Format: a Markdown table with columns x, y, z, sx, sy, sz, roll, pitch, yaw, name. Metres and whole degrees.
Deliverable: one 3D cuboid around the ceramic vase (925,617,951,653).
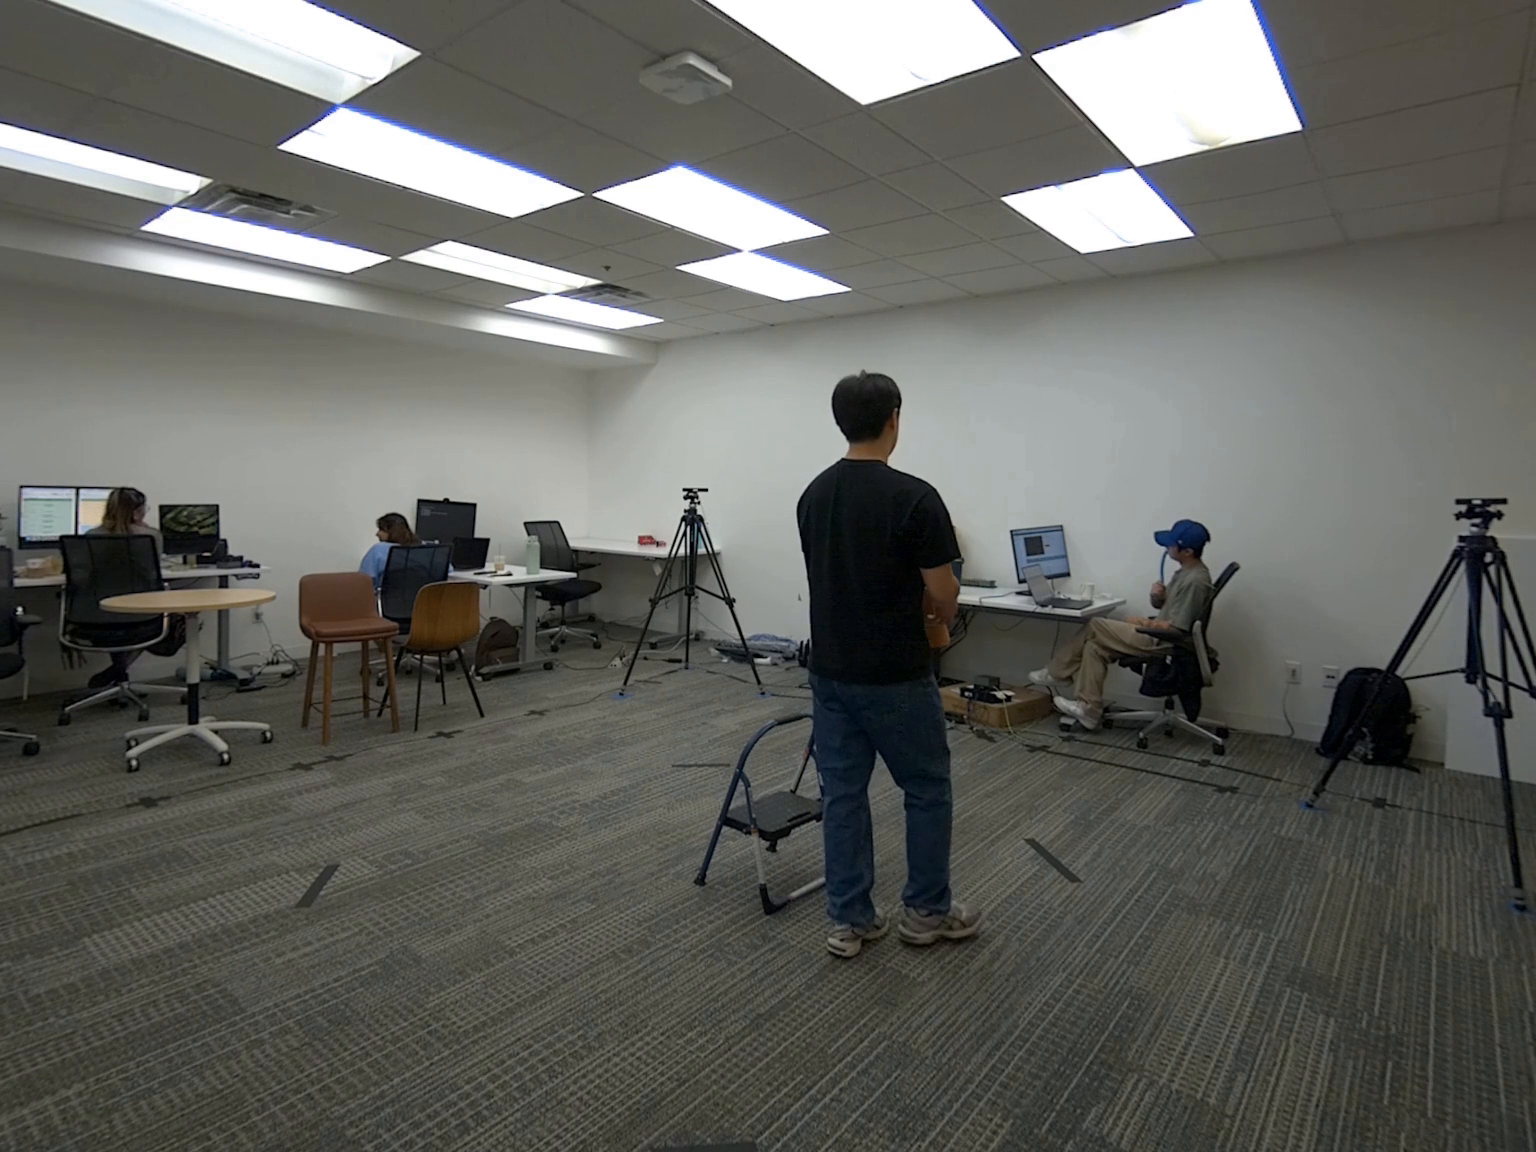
| x | y | z | sx | sy | sz | roll | pitch | yaw | name |
| --- | --- | --- | --- | --- | --- | --- | --- | --- | --- |
| 0.544 | 0.124 | 2.856 | 0.136 | 0.216 | 0.159 | -6 | 15 | 15 | ceramic vase |
